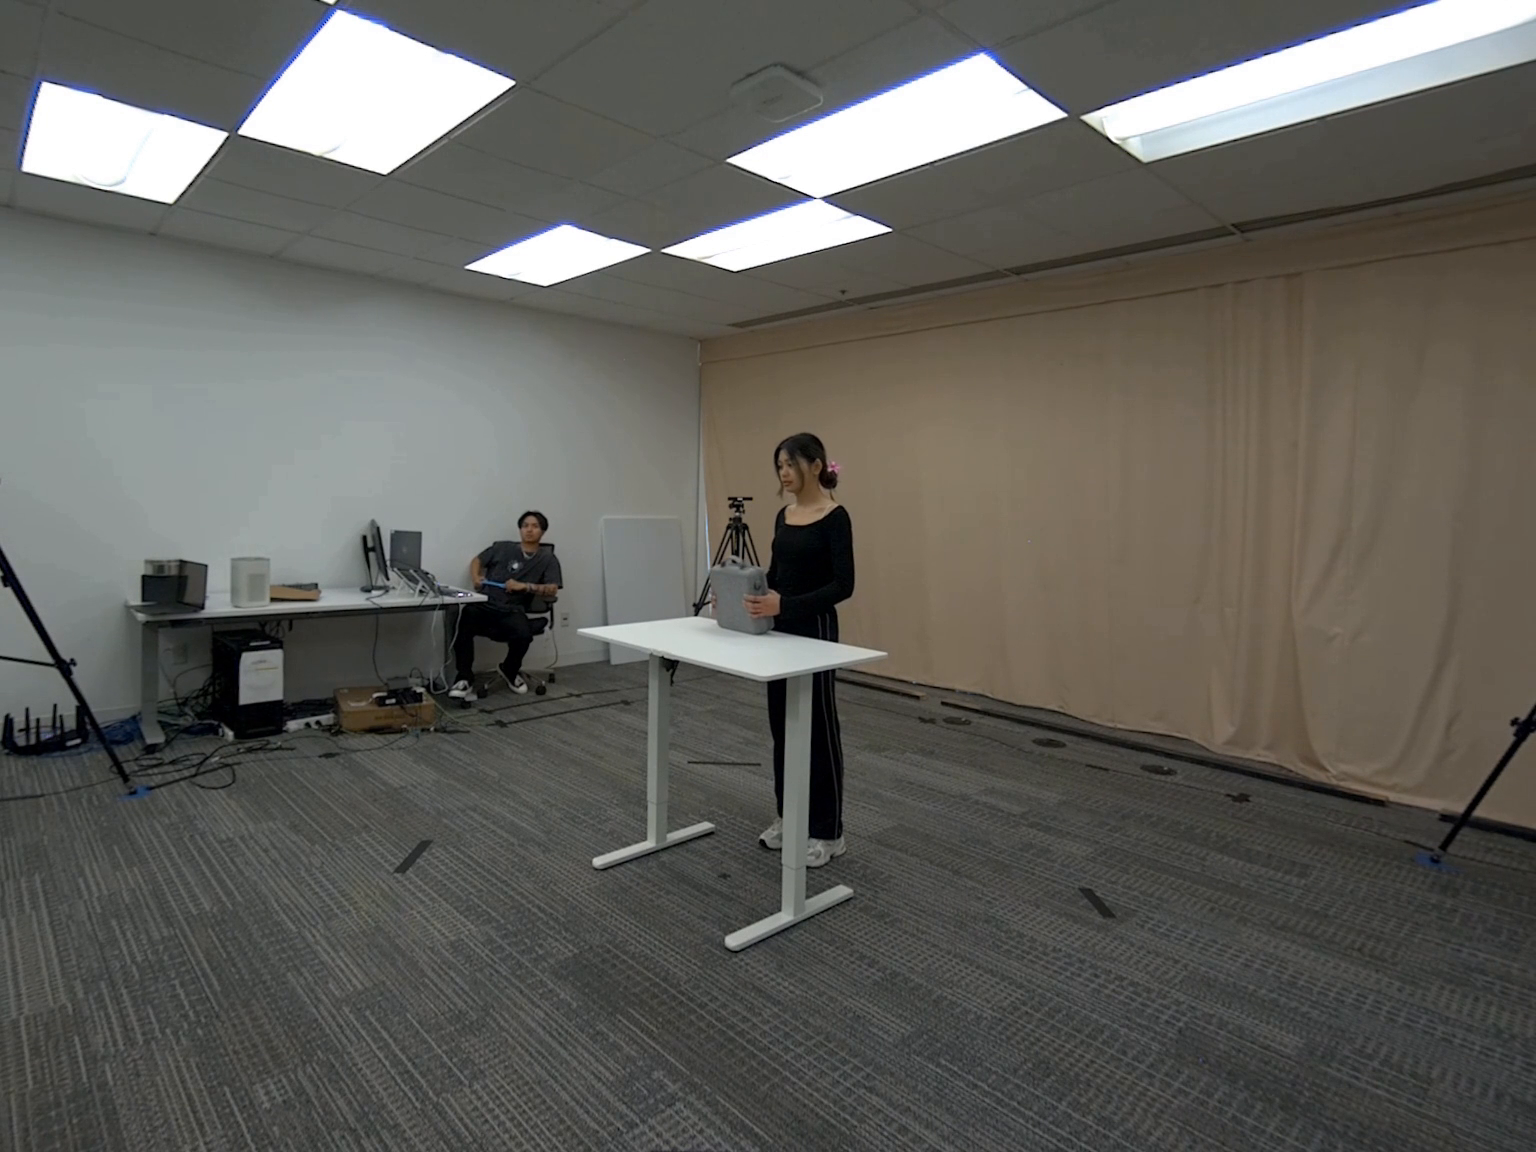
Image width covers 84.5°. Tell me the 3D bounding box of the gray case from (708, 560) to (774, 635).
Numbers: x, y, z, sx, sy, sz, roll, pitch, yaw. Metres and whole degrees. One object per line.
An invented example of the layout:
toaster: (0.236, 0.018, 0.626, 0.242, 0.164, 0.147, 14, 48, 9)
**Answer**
gray case: (-0.108, 0.082, 3.227, 0.103, 0.258, 0.263, -16, 13, -34)
